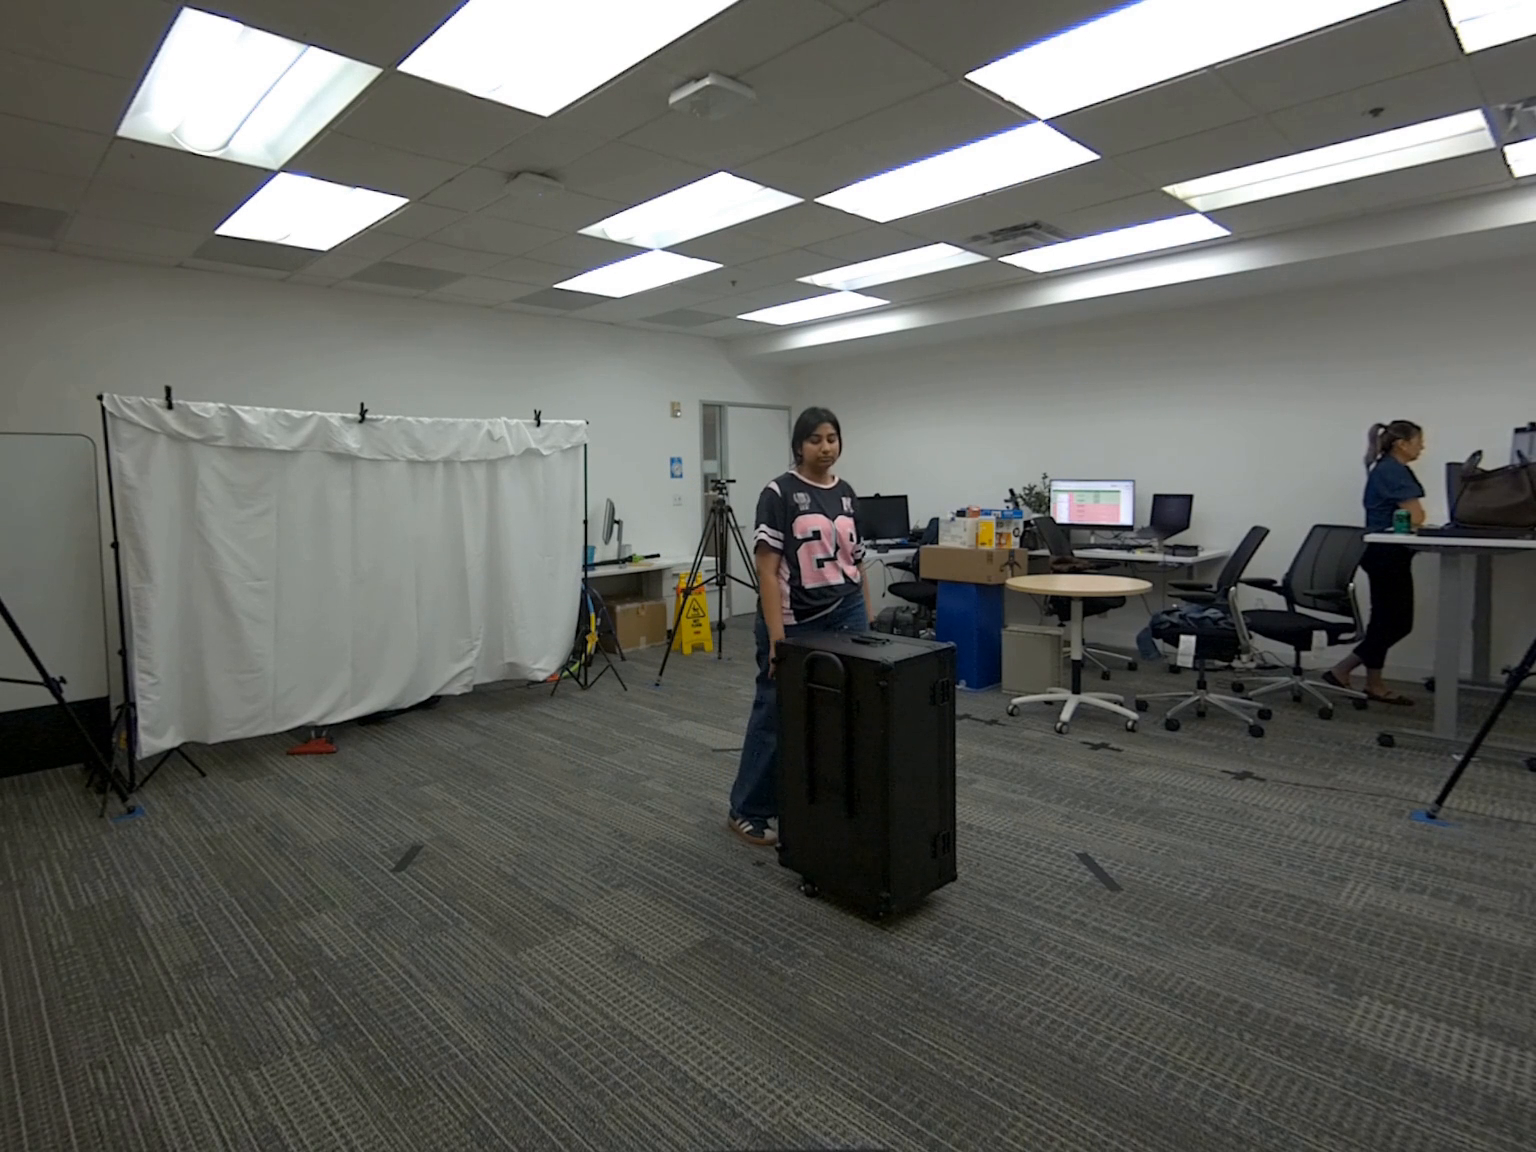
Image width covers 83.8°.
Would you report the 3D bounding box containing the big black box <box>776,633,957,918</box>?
[{"bbox_3d":[0.332,0.653,2.838,0.375,0.865,0.539,-6,6,-44],"label":"big black box"}]
